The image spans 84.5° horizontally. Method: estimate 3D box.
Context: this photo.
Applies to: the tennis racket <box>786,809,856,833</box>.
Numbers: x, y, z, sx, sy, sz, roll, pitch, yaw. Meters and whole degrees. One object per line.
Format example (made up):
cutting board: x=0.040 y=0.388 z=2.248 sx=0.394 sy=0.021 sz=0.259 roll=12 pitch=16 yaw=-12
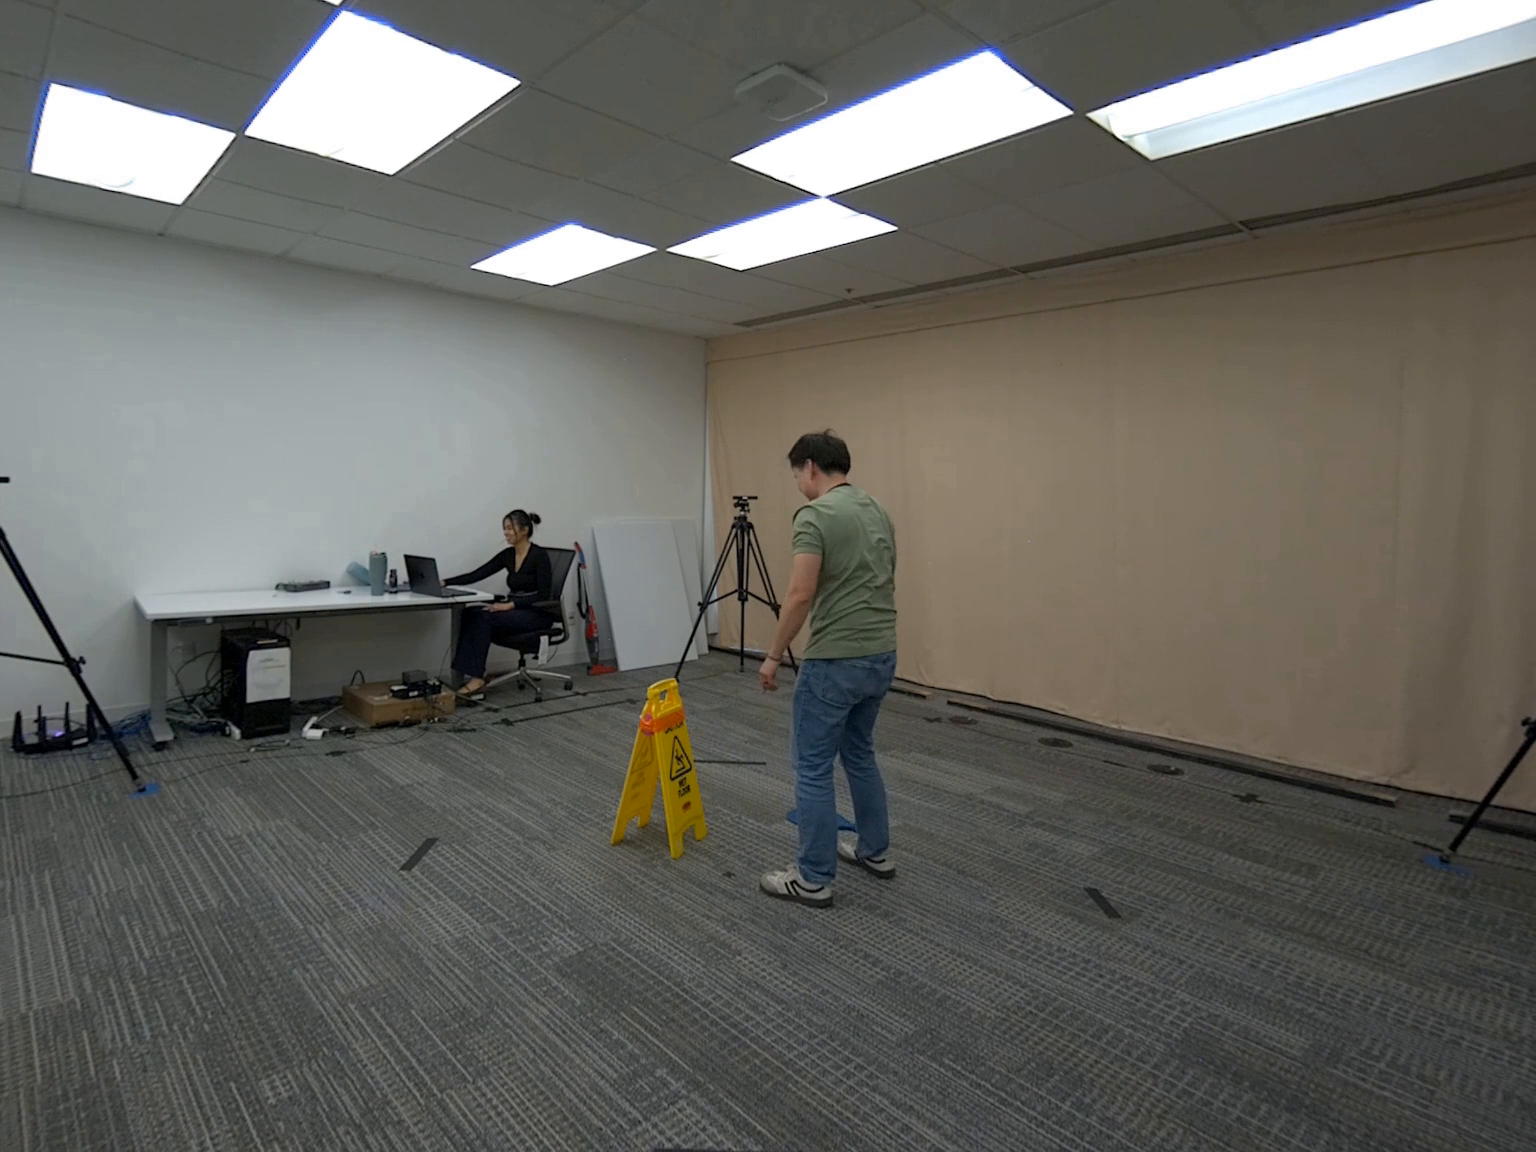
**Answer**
tennis racket: x=0.273 y=1.056 z=3.612 sx=0.443 sy=0.032 sz=0.209 roll=3 pitch=5 yaw=35
